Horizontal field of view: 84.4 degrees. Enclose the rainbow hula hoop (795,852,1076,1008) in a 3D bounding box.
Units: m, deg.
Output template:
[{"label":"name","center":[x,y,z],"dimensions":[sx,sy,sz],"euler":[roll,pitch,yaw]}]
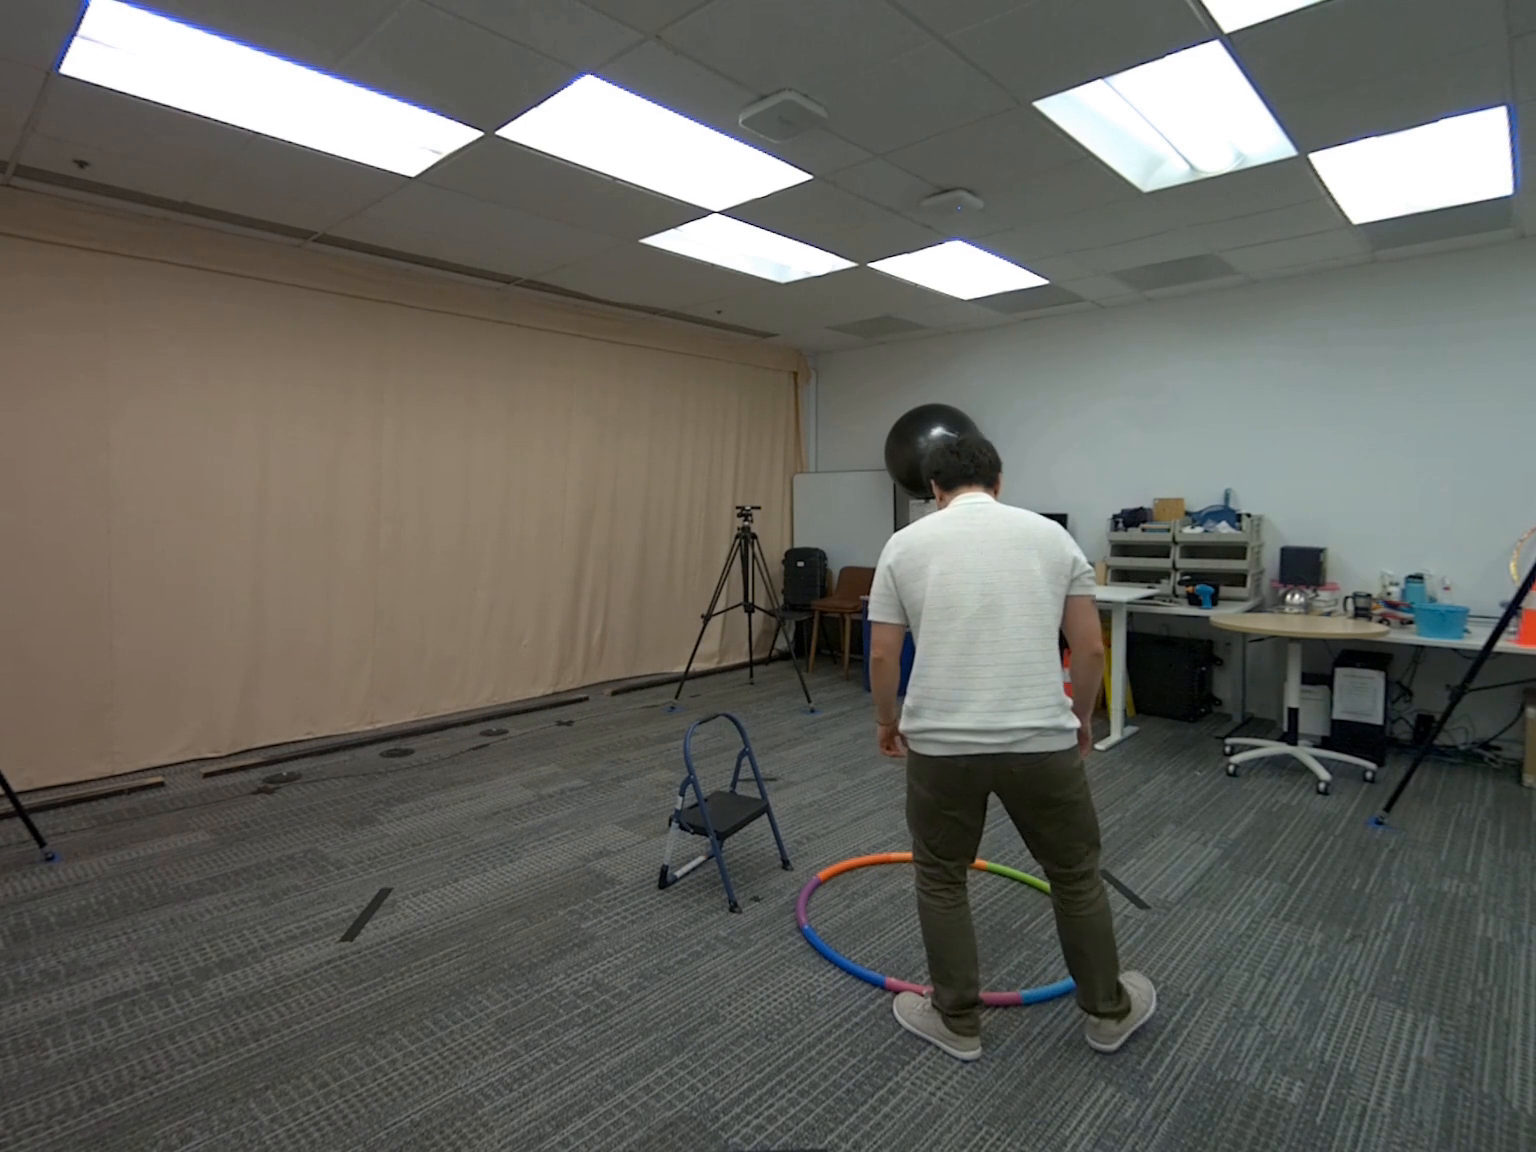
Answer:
[{"label":"rainbow hula hoop","center":[0.593,1.129,2.822],"dimensions":[0.978,0.035,0.982],"euler":[0,5,-2]}]
